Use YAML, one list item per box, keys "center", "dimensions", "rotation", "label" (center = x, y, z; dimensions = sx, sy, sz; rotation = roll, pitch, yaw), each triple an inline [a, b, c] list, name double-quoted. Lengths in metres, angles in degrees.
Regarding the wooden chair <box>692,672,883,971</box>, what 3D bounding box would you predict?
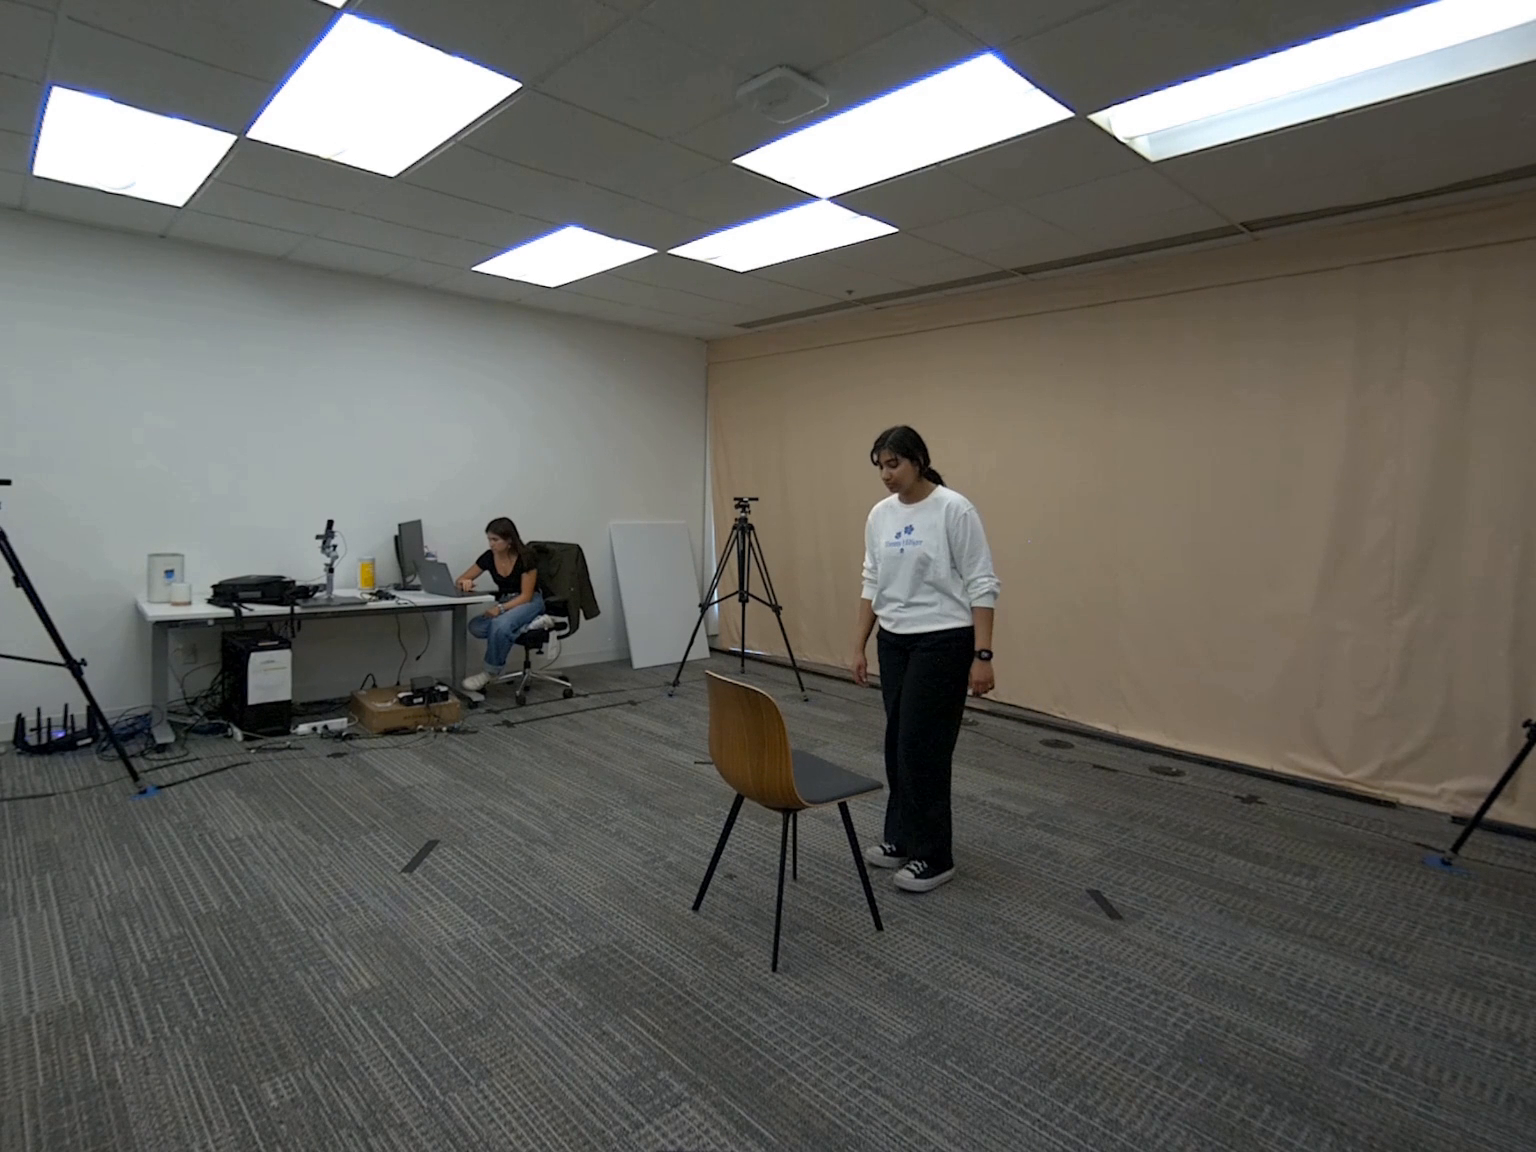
- center: [0.069, 0.716, 2.762]
  dimensions: [0.513, 0.873, 0.490]
  rotation: [-7, 7, -36]
  label: "wooden chair"
